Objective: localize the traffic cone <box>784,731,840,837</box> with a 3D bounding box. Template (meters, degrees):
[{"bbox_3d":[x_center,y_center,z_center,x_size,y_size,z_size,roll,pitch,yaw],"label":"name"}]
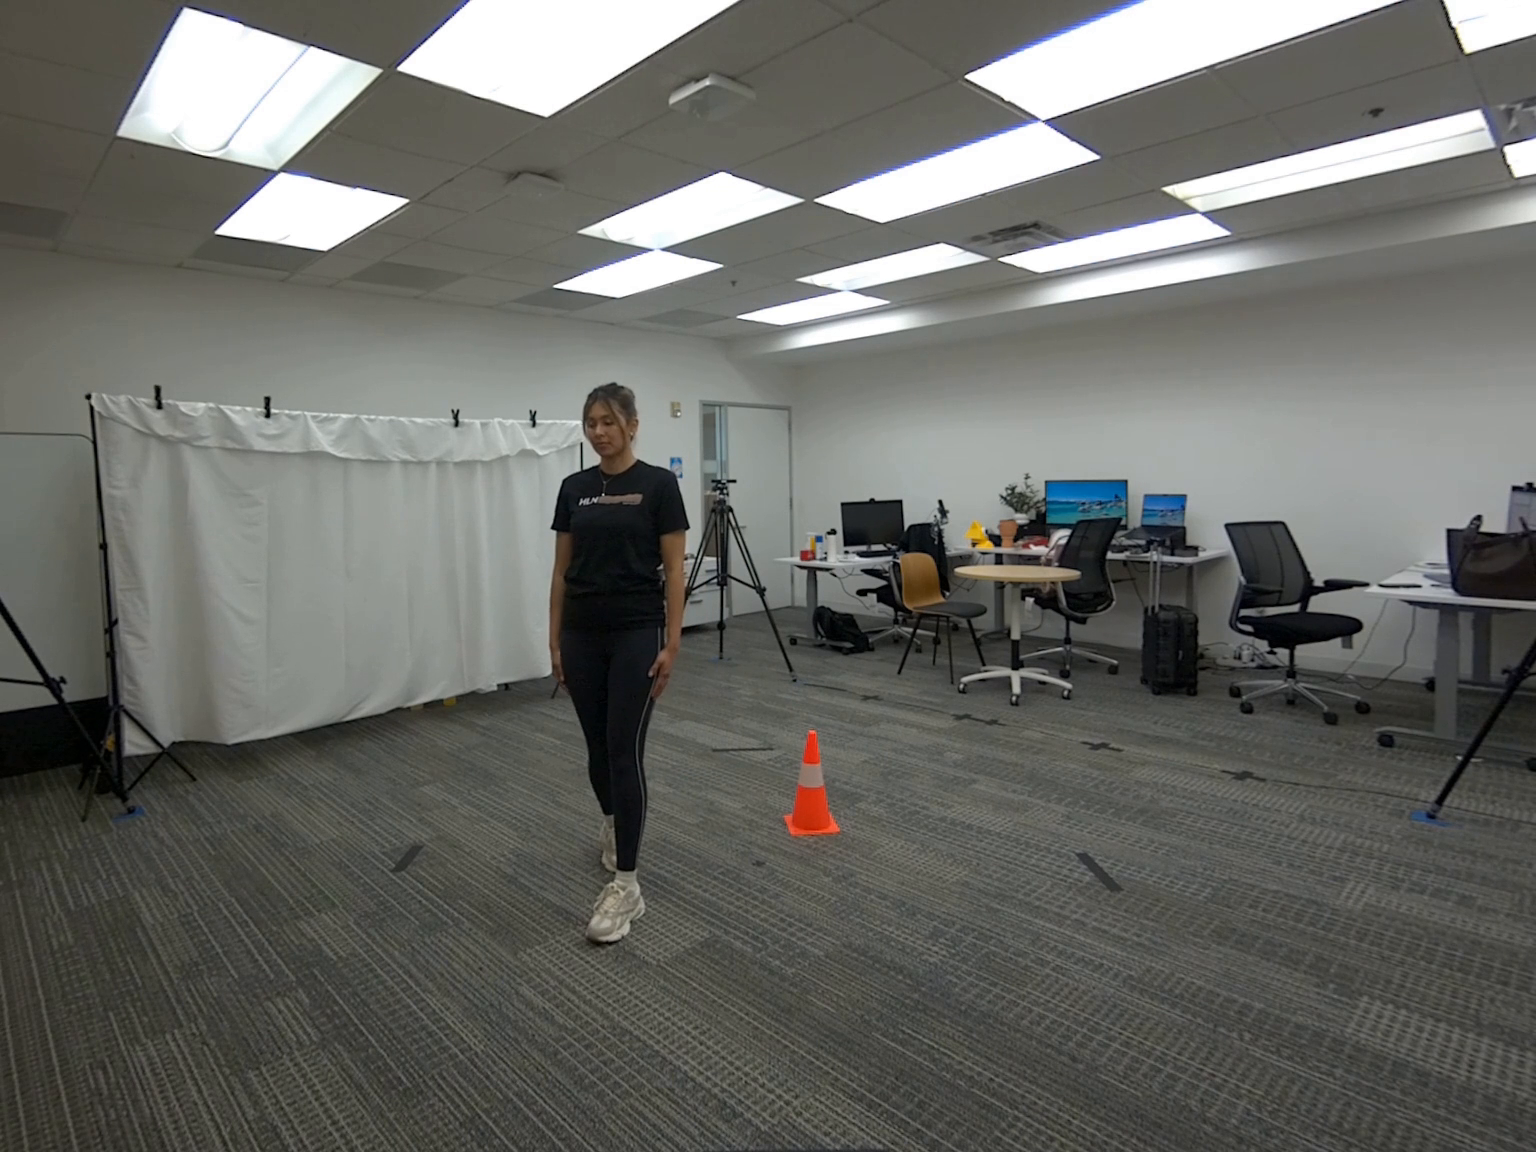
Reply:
[{"bbox_3d":[0.175,0.818,3.446,0.202,0.382,0.207,-2,5,-5],"label":"traffic cone"}]
